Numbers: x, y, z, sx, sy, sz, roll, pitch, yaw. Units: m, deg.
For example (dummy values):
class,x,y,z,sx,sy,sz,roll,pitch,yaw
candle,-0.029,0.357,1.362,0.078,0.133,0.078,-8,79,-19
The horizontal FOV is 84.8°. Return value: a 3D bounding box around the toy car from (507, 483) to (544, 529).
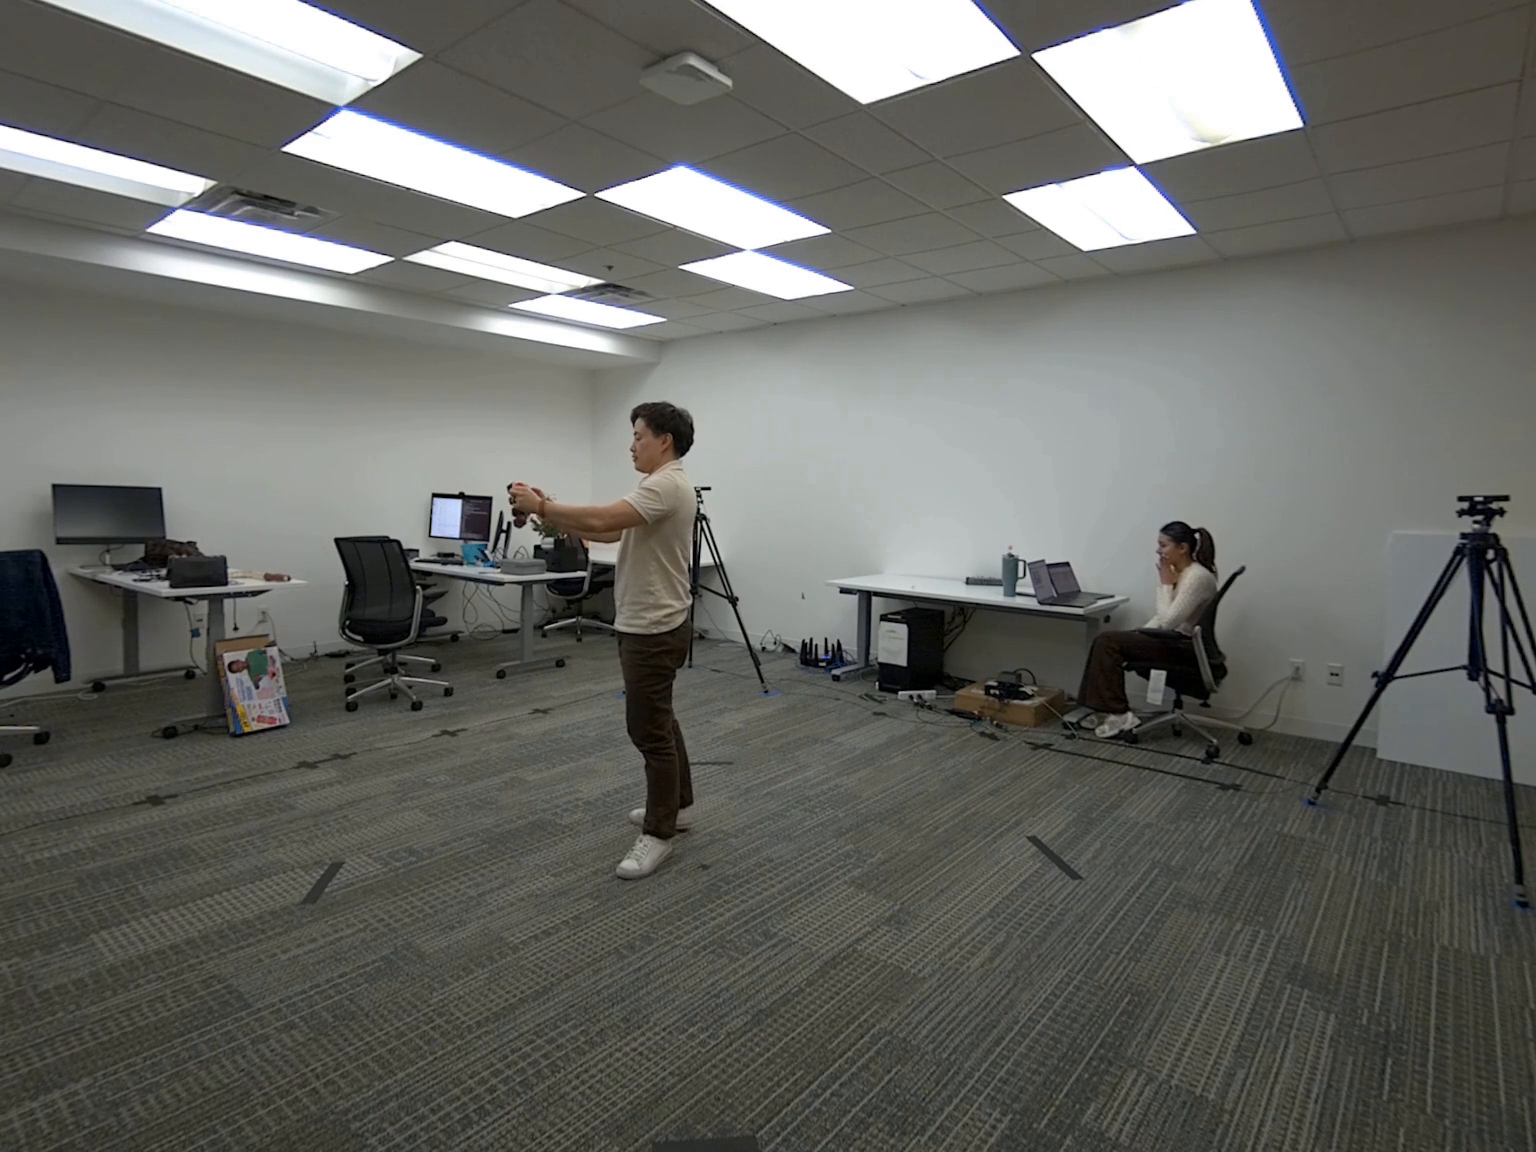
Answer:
class,x,y,z,sx,sy,sz,roll,pitch,yaw
toy car,-0.915,-0.266,3.095,0.081,0.132,0.256,-9,-12,-28
